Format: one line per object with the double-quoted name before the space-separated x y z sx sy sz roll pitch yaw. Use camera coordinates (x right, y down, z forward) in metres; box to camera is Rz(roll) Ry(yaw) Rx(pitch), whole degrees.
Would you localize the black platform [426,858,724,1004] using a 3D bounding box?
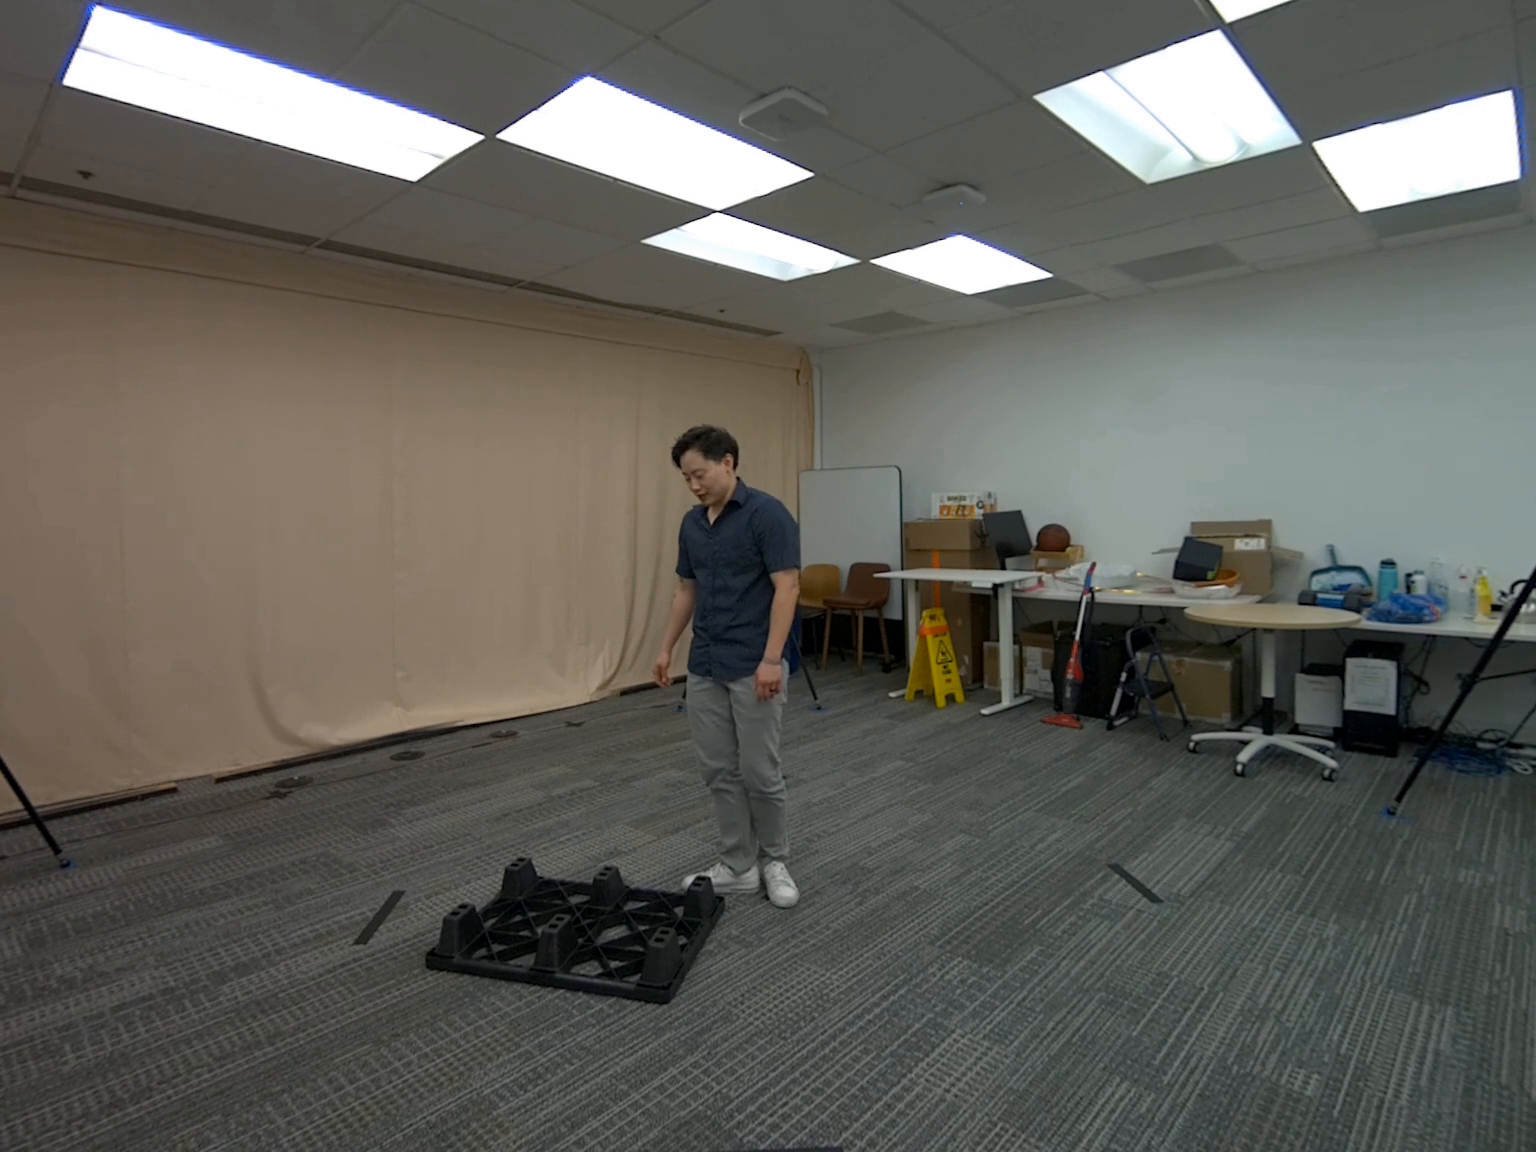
"black platform" -0.605 1.111 2.730 0.819 0.143 0.597 -1 4 15
